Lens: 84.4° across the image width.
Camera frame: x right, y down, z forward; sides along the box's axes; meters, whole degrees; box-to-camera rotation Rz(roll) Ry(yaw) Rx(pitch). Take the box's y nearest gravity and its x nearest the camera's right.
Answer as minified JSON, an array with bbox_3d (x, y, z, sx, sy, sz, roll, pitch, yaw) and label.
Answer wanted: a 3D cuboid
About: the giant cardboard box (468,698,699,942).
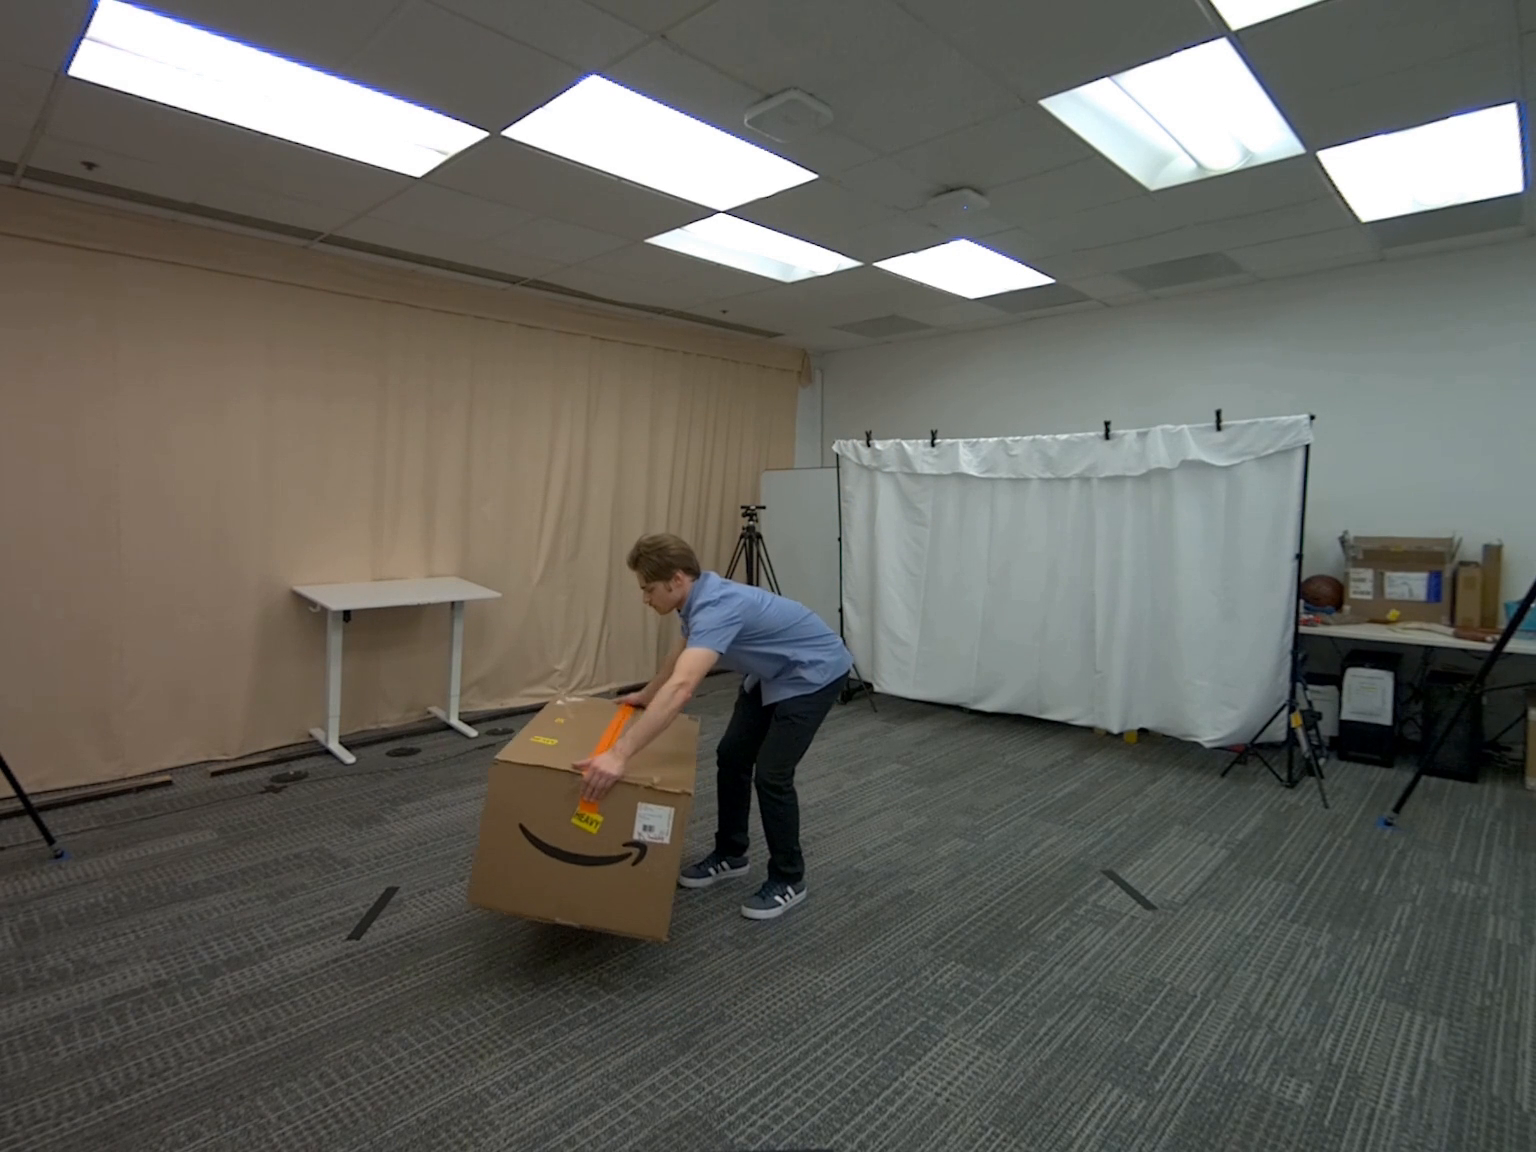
[{"bbox_3d":[-0.559,0.751,2.856,0.583,0.446,1.029,11,1,-3],"label":"giant cardboard box"}]
